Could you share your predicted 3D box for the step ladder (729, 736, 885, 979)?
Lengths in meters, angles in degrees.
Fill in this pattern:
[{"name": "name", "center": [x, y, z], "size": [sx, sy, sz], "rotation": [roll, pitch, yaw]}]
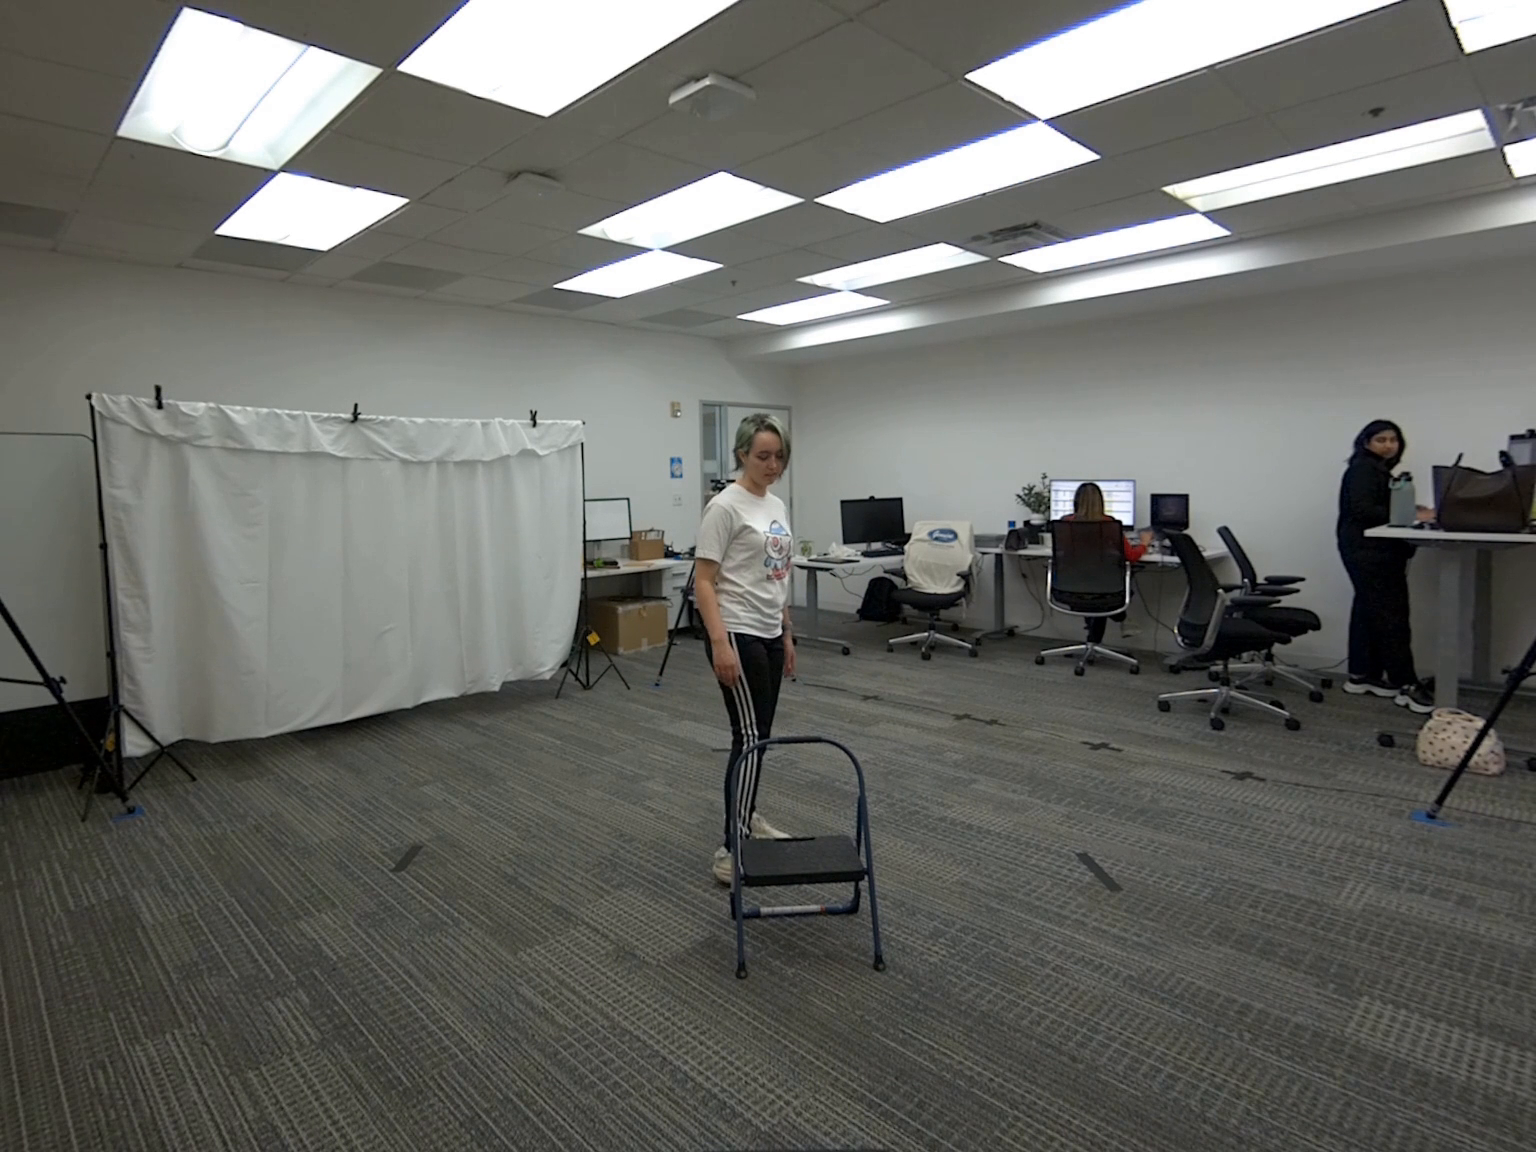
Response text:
[{"name": "step ladder", "center": [0.104, 0.808, 2.567], "size": [0.428, 0.604, 0.352], "rotation": [-1, 4, -6]}]
